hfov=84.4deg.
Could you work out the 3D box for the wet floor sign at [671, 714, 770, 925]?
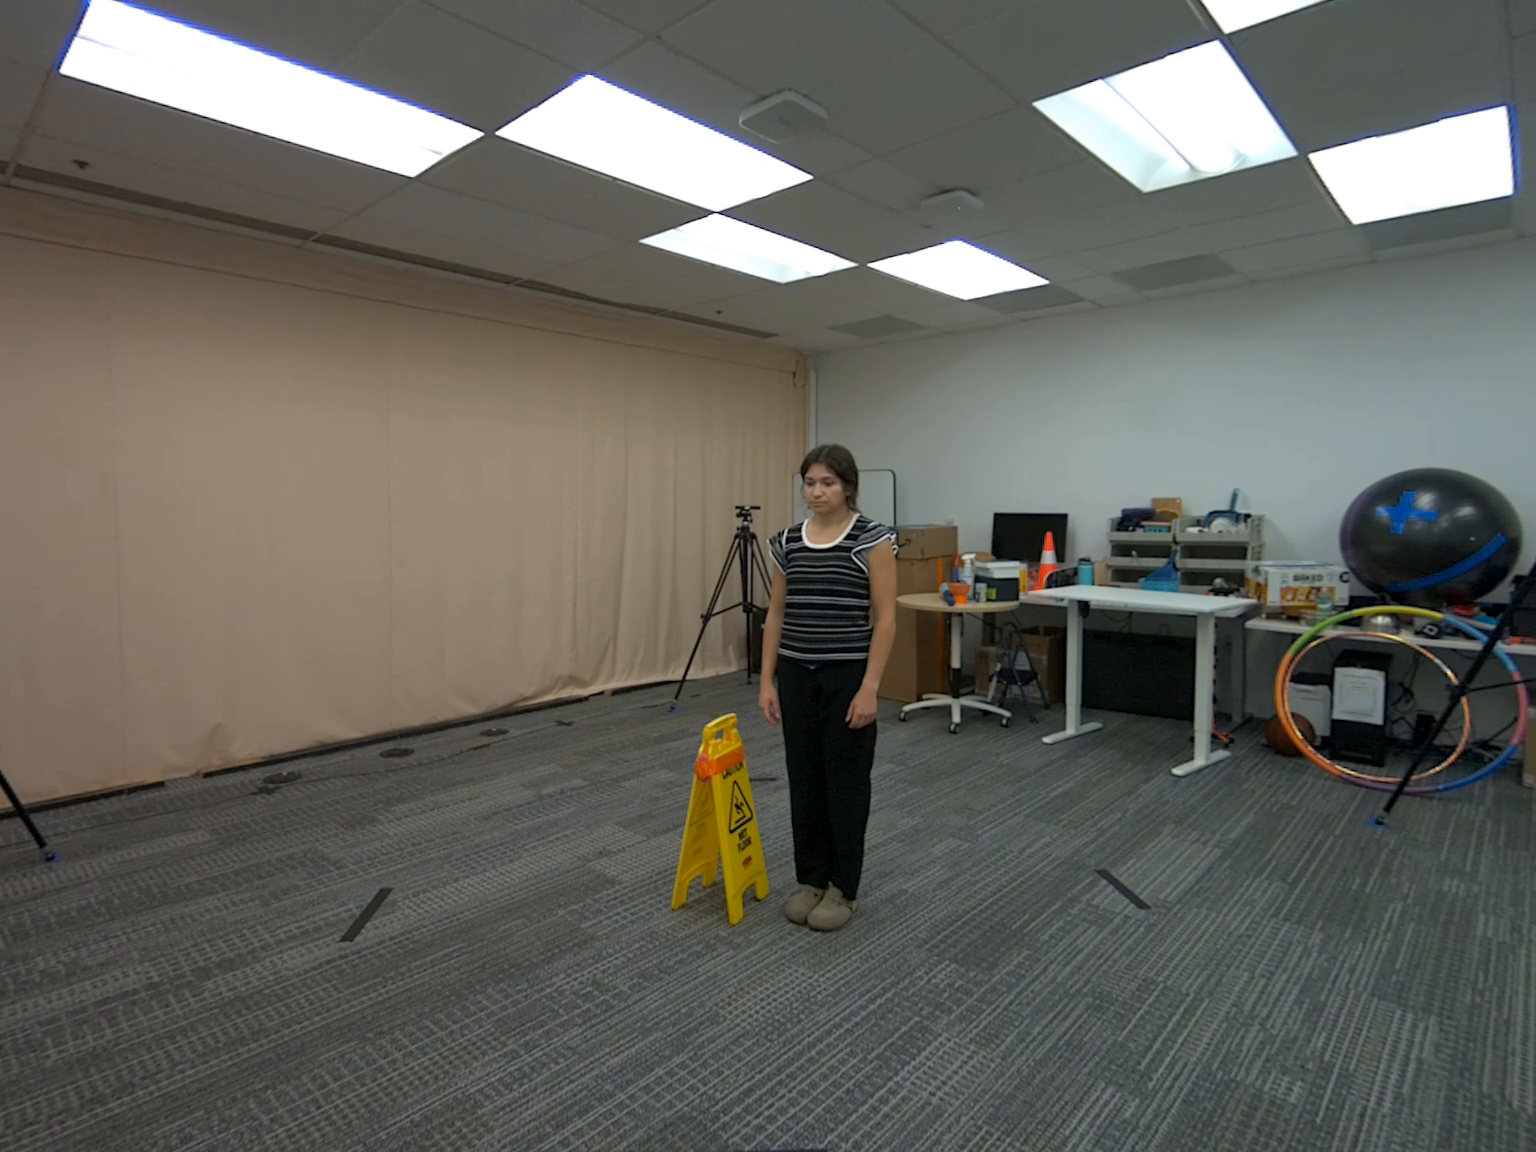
[{"bbox_3d":[-0.164,0.825,2.949,0.297,0.645,0.275,0,2,28],"label":"wet floor sign"}]
